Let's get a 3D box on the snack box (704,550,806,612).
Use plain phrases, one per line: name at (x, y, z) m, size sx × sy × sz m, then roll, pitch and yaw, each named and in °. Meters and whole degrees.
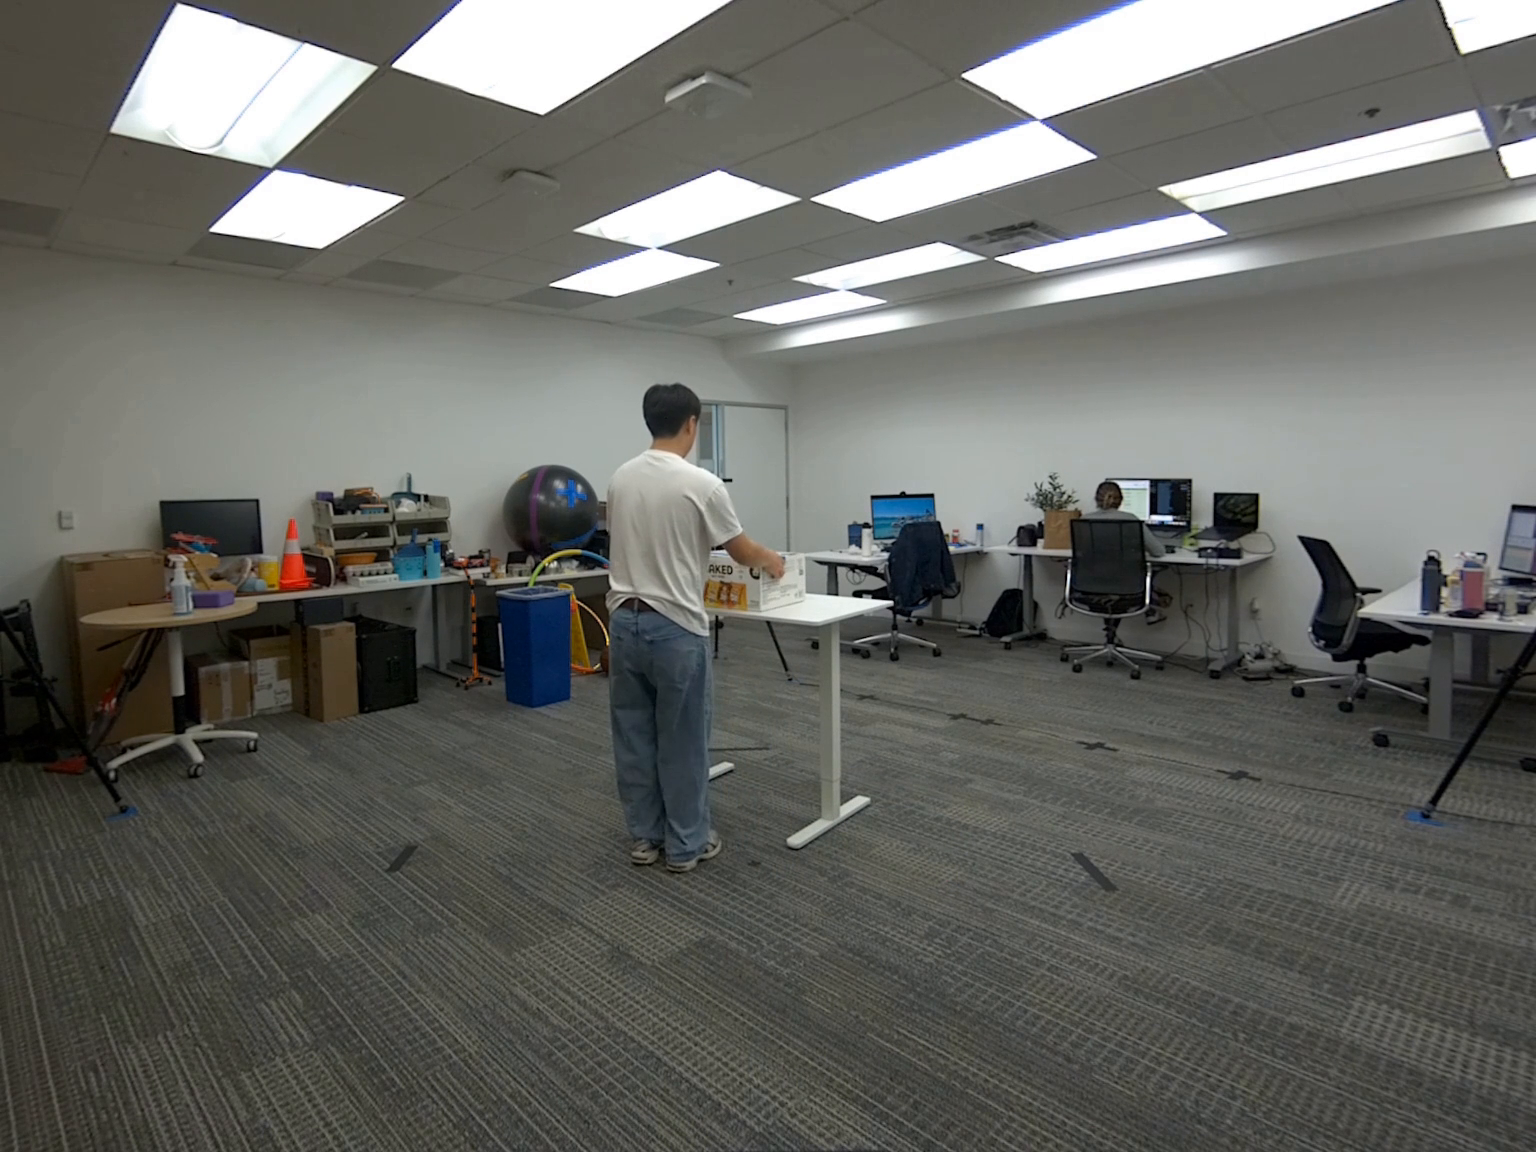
snack box at (-0.102, 0.005, 3.561) m, size 0.417 × 0.204 × 0.332 m, roll 4°, pitch 8°, yaw 35°
